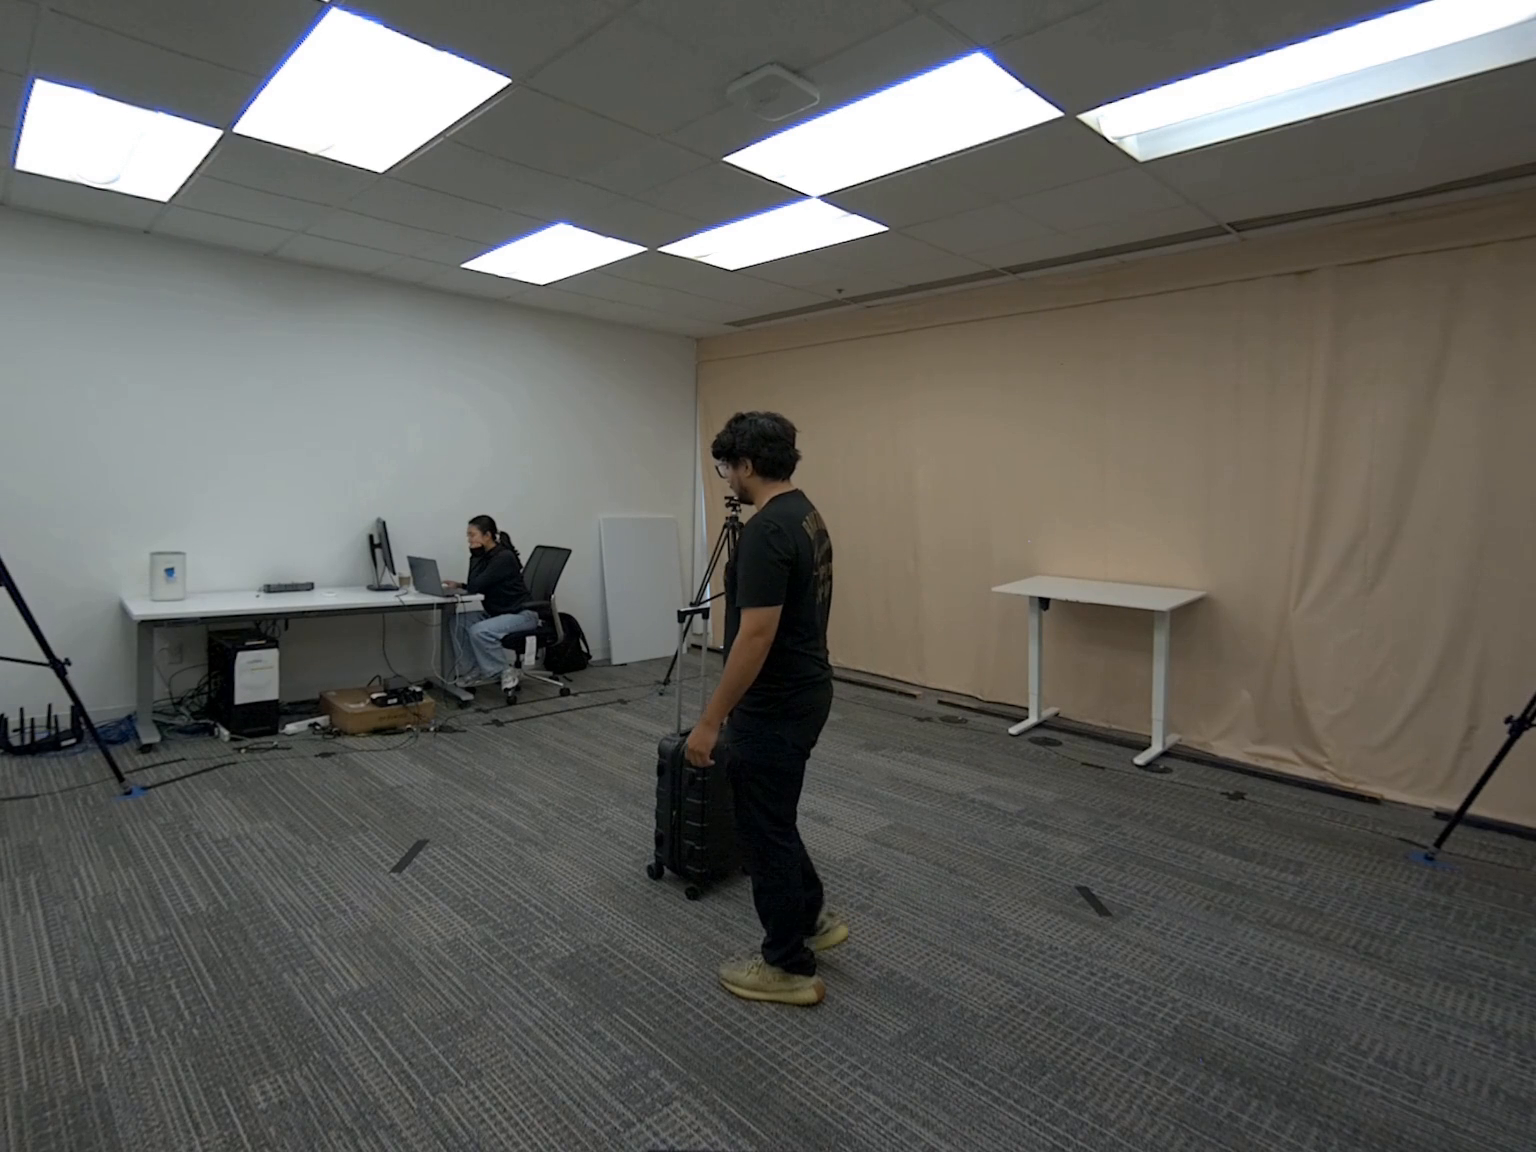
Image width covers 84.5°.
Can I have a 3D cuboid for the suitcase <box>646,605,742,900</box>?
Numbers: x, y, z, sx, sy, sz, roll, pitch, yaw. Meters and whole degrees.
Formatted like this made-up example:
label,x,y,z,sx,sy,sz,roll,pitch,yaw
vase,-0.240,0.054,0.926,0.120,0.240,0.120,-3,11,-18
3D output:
label,x,y,z,sx,sy,sz,roll,pitch,yaw
suitcase,-0.213,0.627,3.067,0.264,0.975,0.375,7,6,38
